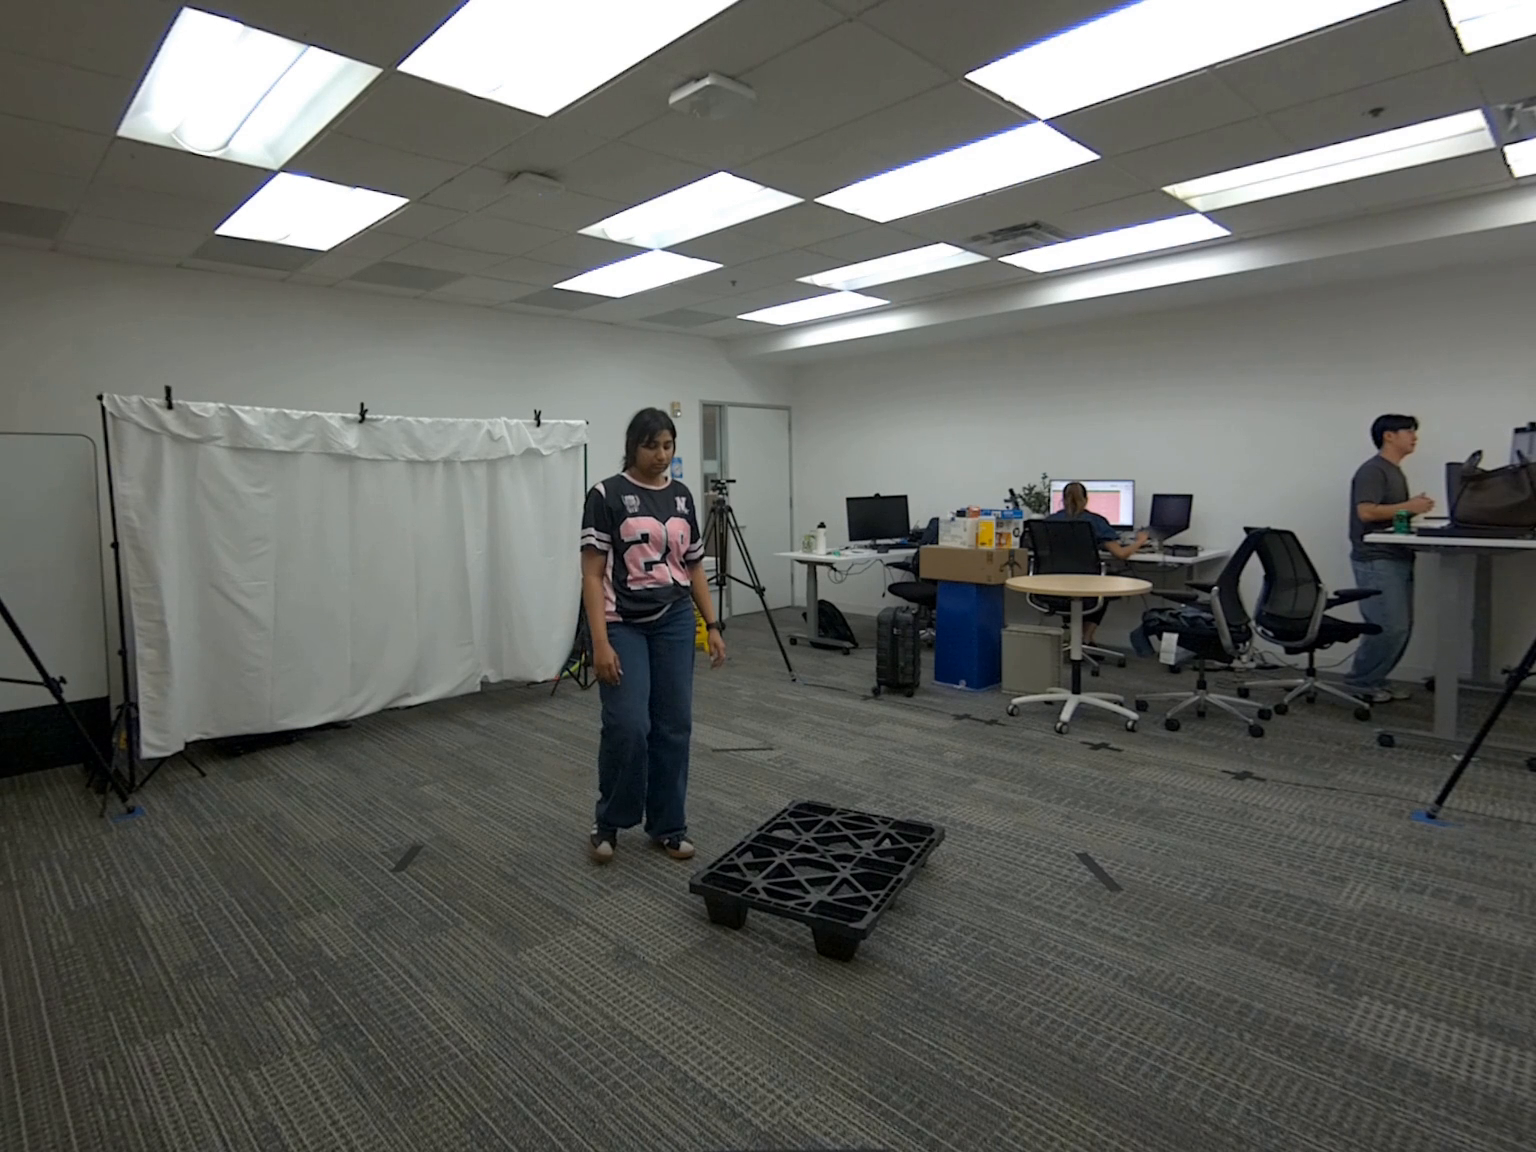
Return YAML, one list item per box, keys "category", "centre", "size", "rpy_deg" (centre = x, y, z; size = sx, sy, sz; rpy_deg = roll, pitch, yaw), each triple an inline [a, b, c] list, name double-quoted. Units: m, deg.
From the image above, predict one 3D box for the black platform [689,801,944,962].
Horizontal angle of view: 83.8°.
- category: "black platform"
  centre: [0.191, 1.001, 2.885]
  size: [0.621, 0.143, 0.788]
  rpy_deg: [2, 7, 29]
